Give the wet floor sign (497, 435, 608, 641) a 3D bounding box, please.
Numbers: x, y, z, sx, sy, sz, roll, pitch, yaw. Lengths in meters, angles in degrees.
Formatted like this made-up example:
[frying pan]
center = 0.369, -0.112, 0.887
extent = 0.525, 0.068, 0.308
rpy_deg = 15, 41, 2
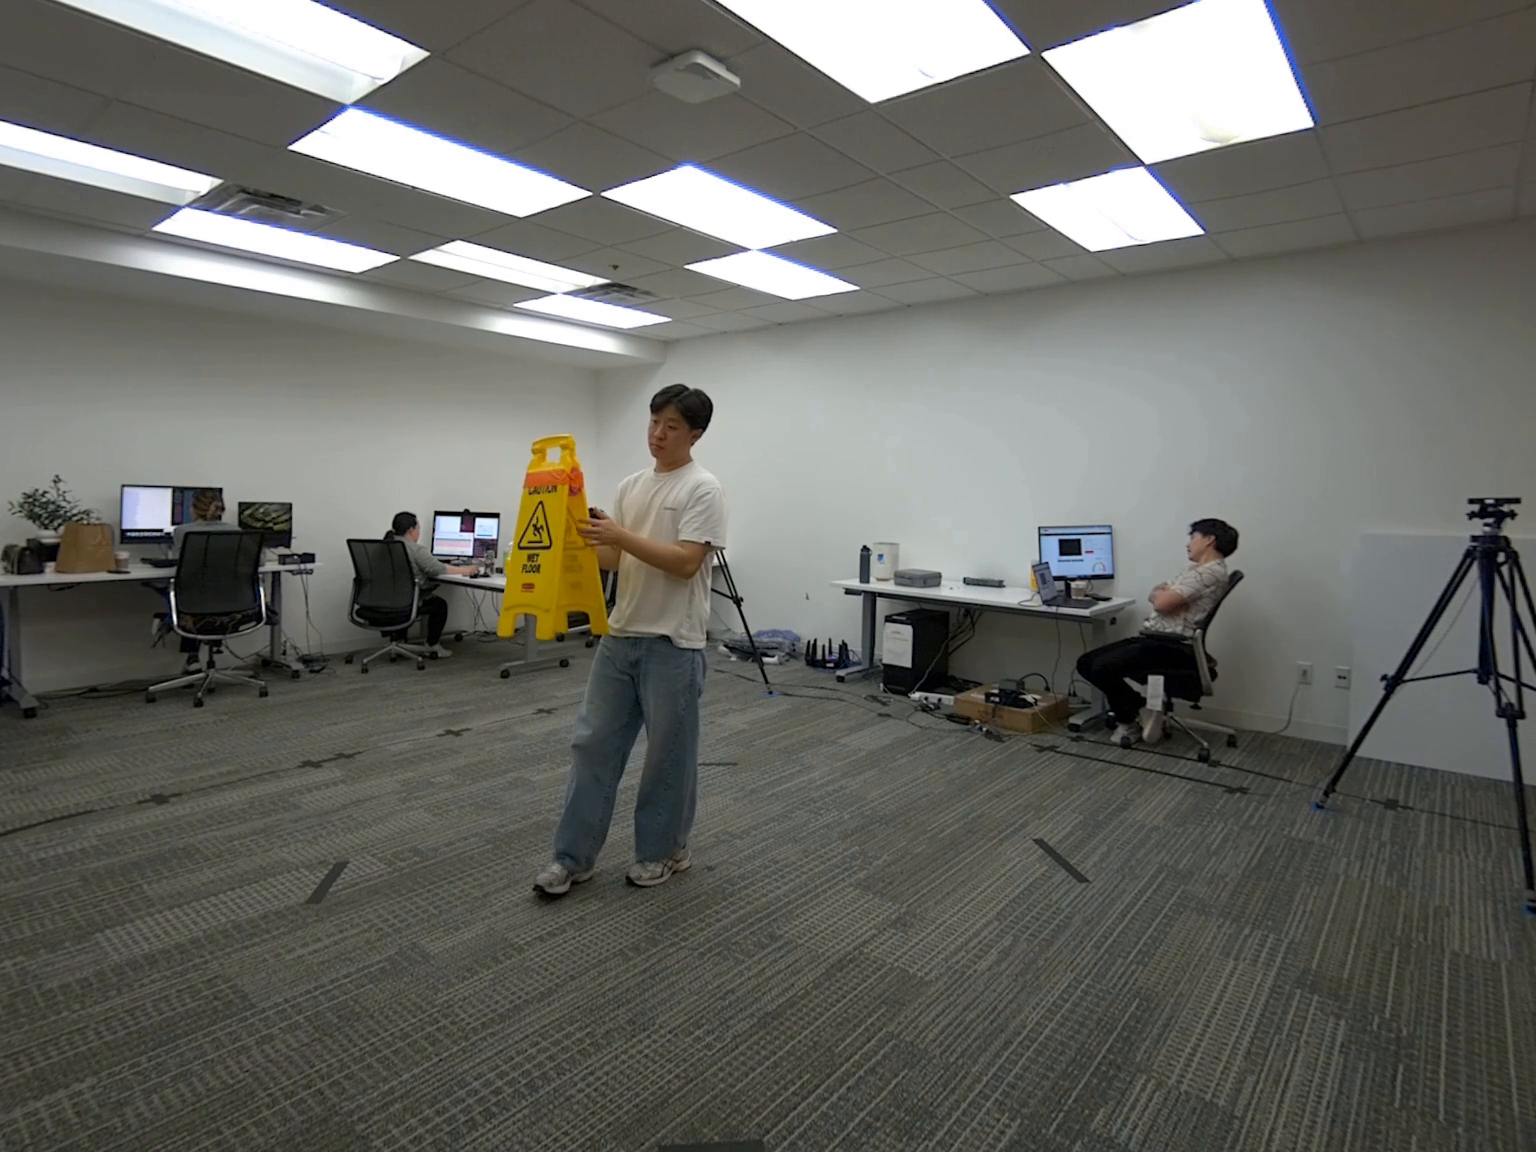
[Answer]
[wet floor sign]
center = -0.706, -0.136, 2.785
extent = 0.291, 0.647, 0.281
rpy_deg = -3, -2, 39
